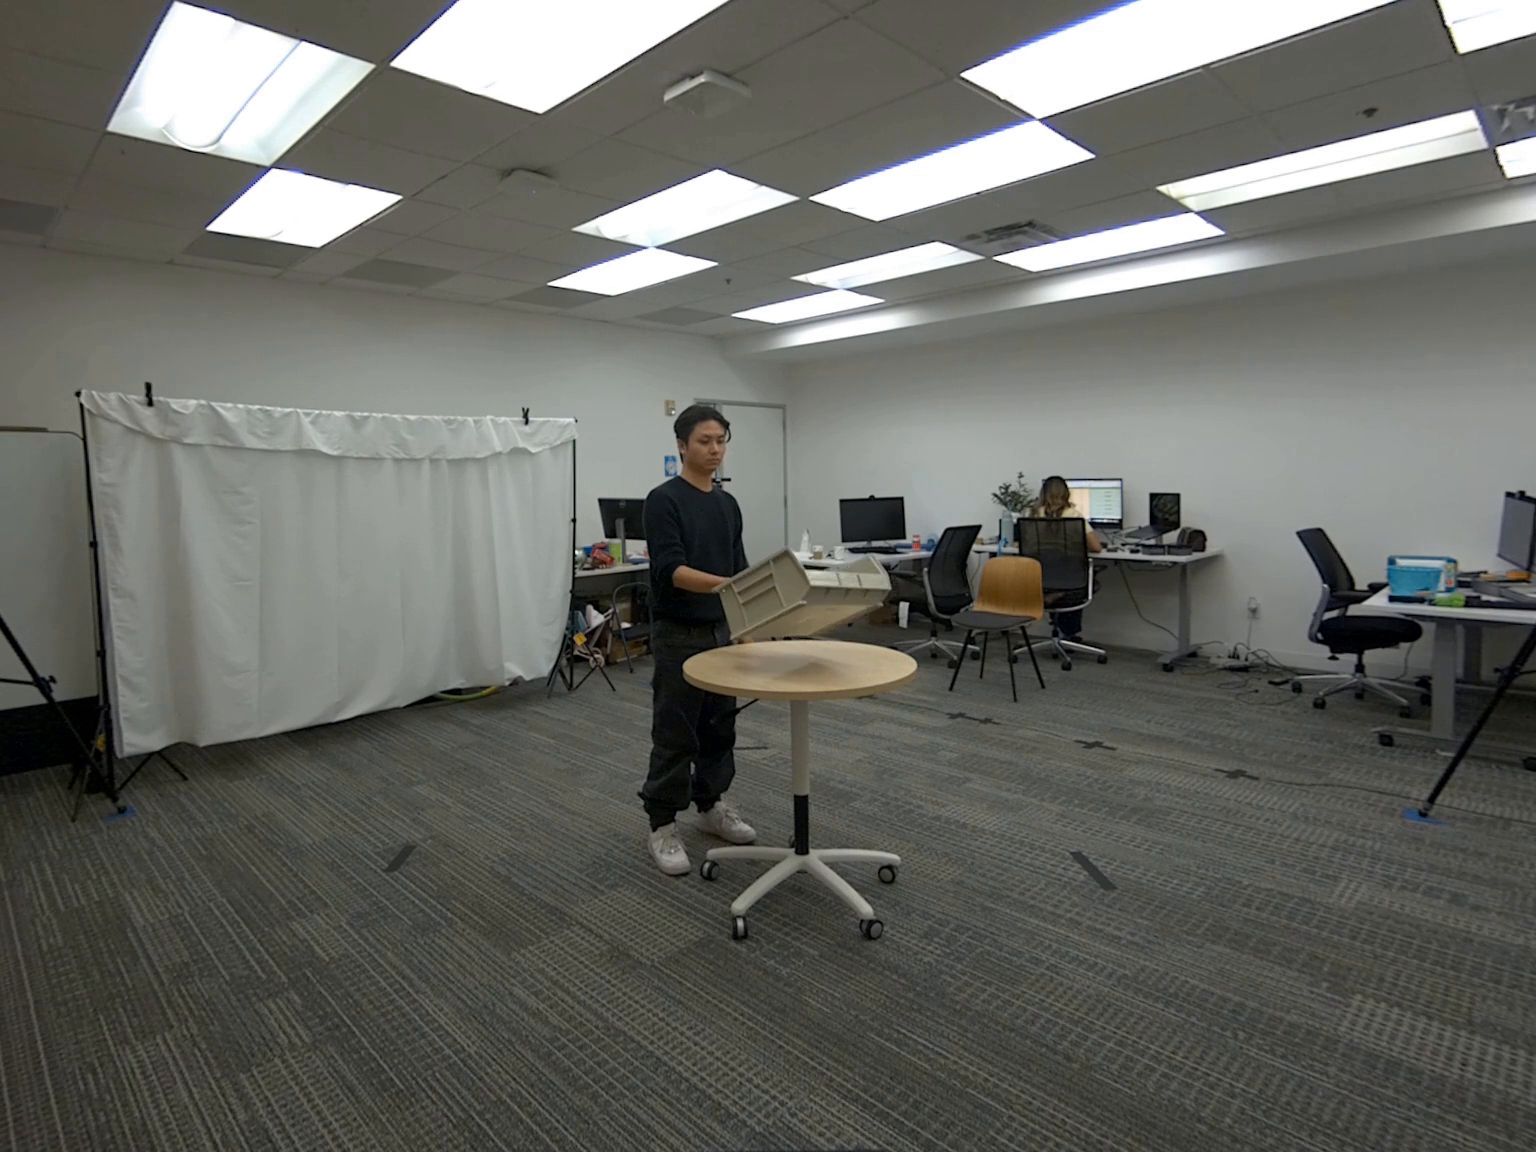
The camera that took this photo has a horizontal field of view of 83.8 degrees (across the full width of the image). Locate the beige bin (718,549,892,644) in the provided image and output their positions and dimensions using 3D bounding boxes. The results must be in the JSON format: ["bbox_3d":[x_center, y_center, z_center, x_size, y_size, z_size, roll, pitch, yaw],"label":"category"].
[{"bbox_3d":[0.122,0.061,2.733,0.409,0.193,0.381,2,-25,-47],"label":"beige bin"}]
